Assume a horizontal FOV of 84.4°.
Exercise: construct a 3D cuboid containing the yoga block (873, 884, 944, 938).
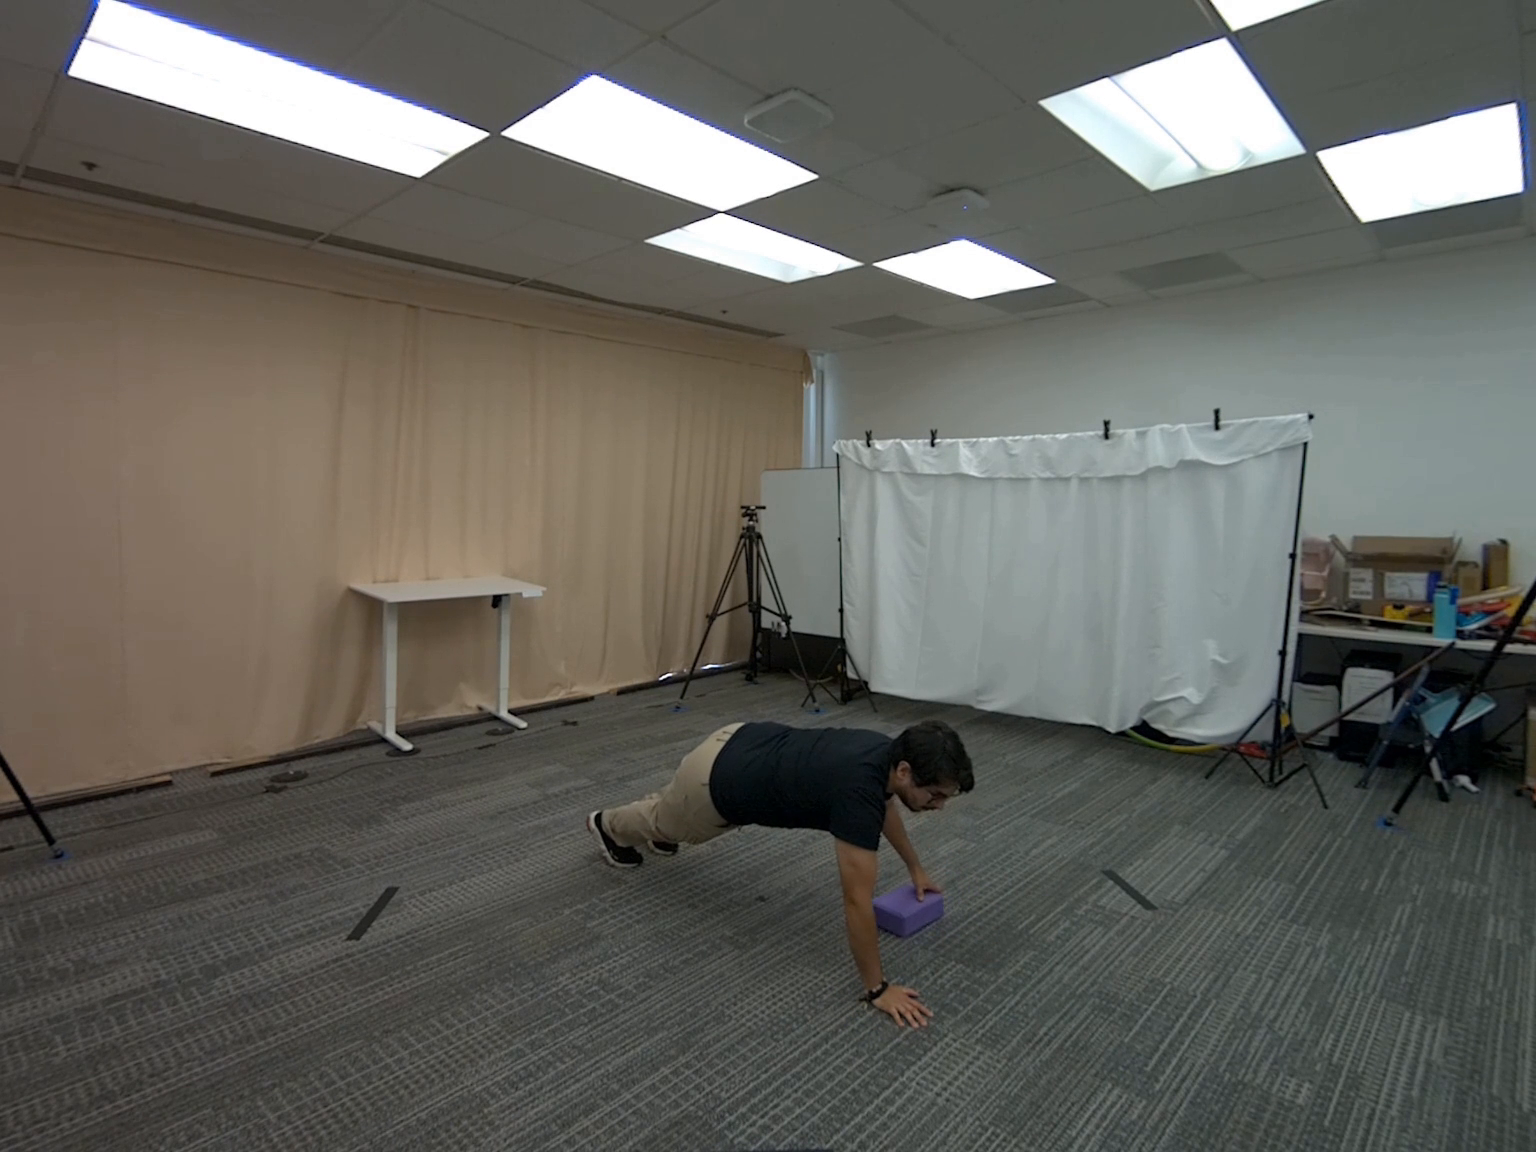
[{"bbox_3d":[0.470,1.121,2.813,0.222,0.076,0.154,-4,7,-43],"label":"yoga block"}]
